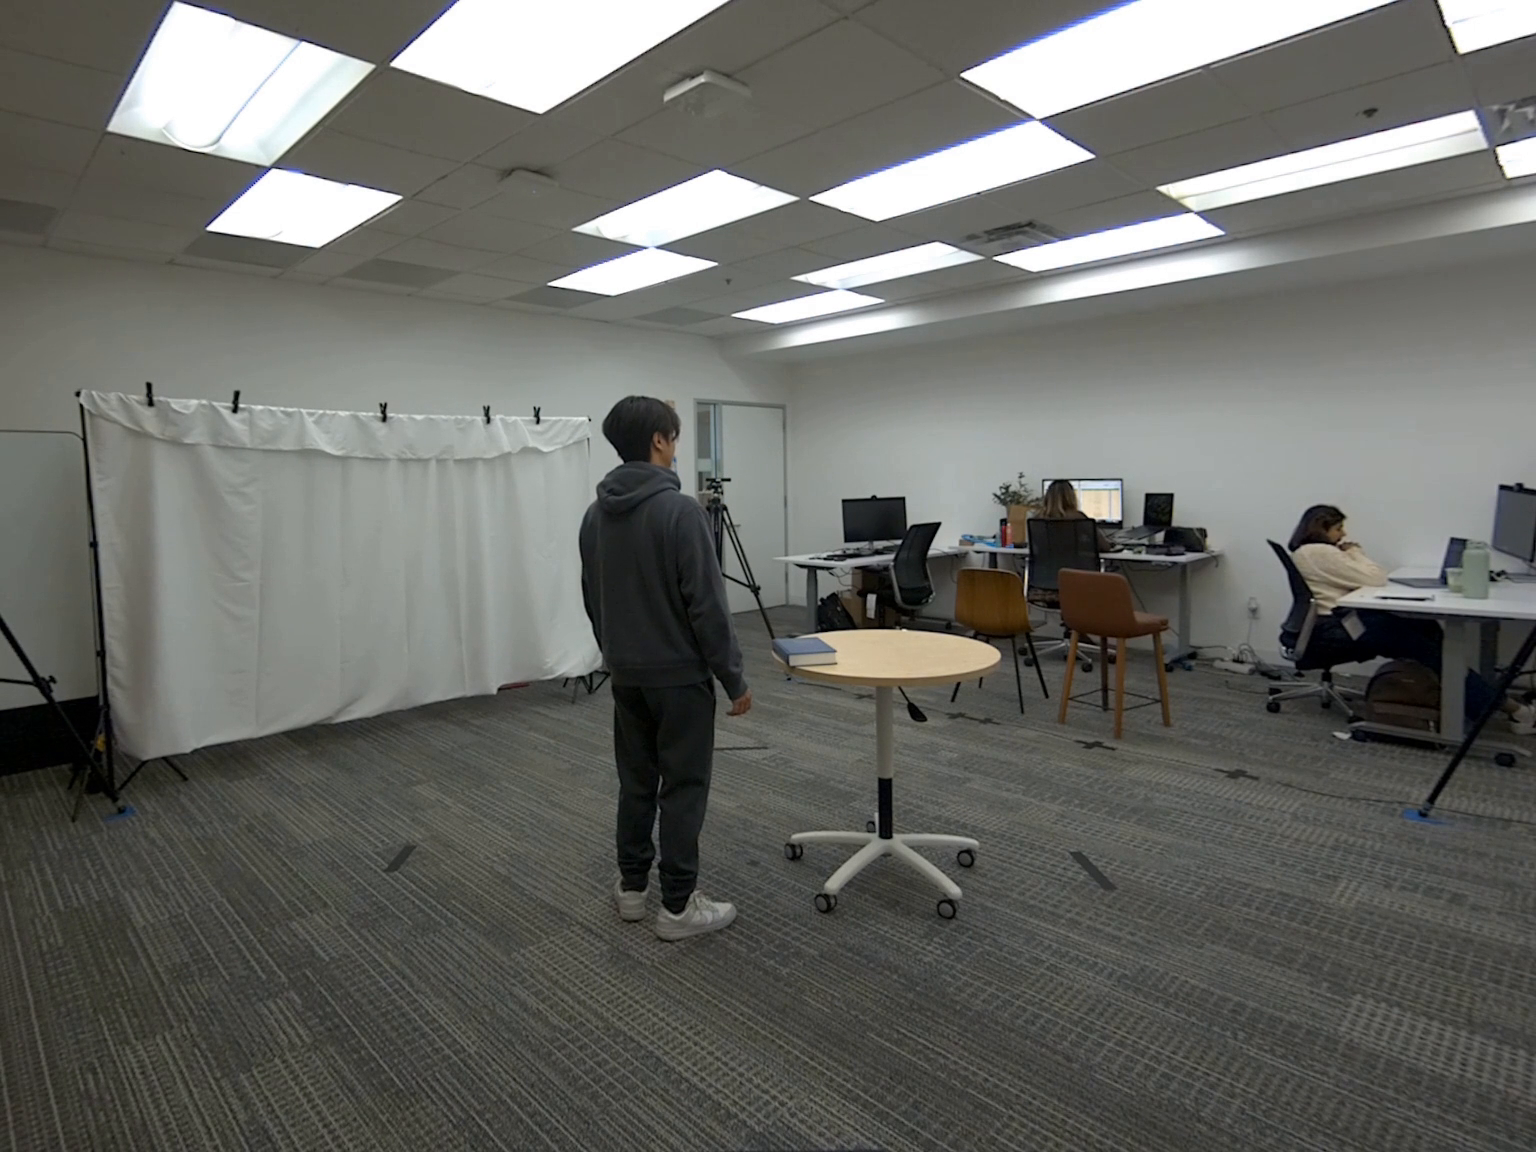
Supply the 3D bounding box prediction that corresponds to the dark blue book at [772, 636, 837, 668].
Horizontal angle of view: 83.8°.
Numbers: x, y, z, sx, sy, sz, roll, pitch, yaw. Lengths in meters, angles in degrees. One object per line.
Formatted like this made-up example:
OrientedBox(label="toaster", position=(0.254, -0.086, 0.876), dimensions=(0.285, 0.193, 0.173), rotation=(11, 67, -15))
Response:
OrientedBox(label="dark blue book", position=(0.129, 0.252, 2.855), dimensions=(0.162, 0.045, 0.249), rotation=(-3, 7, -11))
